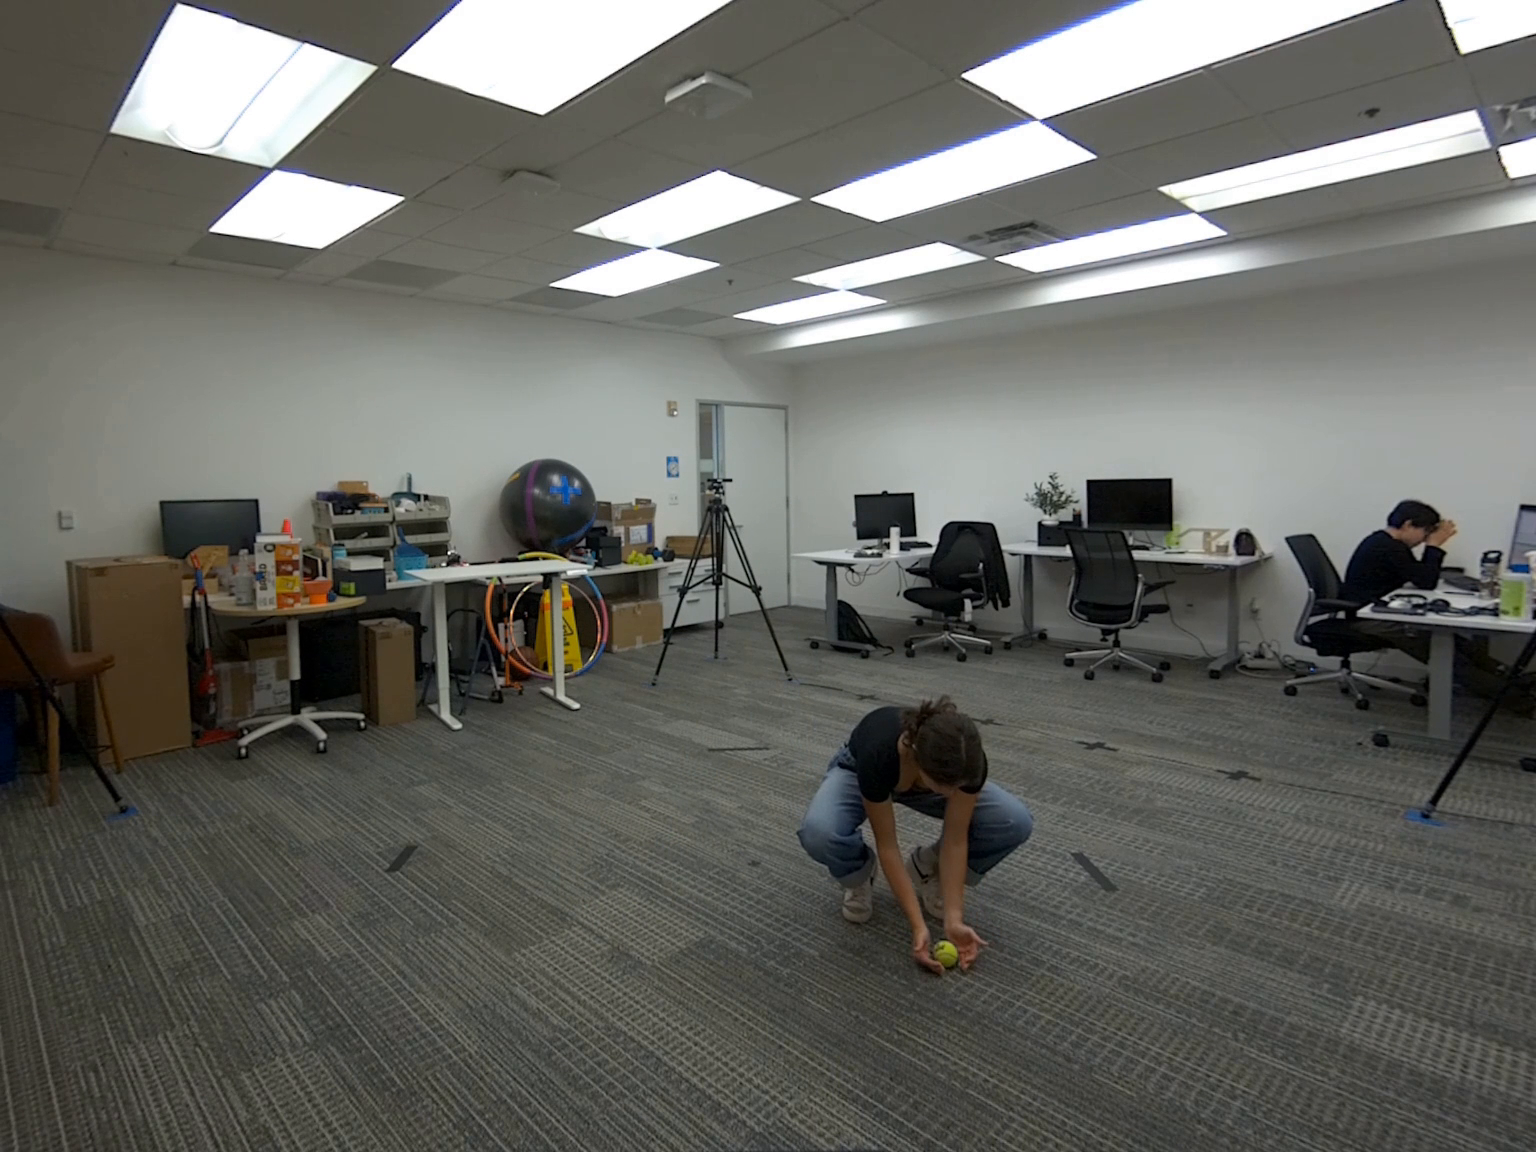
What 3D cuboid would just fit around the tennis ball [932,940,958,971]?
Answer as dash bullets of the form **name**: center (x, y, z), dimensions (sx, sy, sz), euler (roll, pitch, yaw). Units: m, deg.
- **tennis ball**: center (0.506, 1.063, 2.454), dimensions (0.066, 0.066, 0.067), euler (-1, 5, -2)
